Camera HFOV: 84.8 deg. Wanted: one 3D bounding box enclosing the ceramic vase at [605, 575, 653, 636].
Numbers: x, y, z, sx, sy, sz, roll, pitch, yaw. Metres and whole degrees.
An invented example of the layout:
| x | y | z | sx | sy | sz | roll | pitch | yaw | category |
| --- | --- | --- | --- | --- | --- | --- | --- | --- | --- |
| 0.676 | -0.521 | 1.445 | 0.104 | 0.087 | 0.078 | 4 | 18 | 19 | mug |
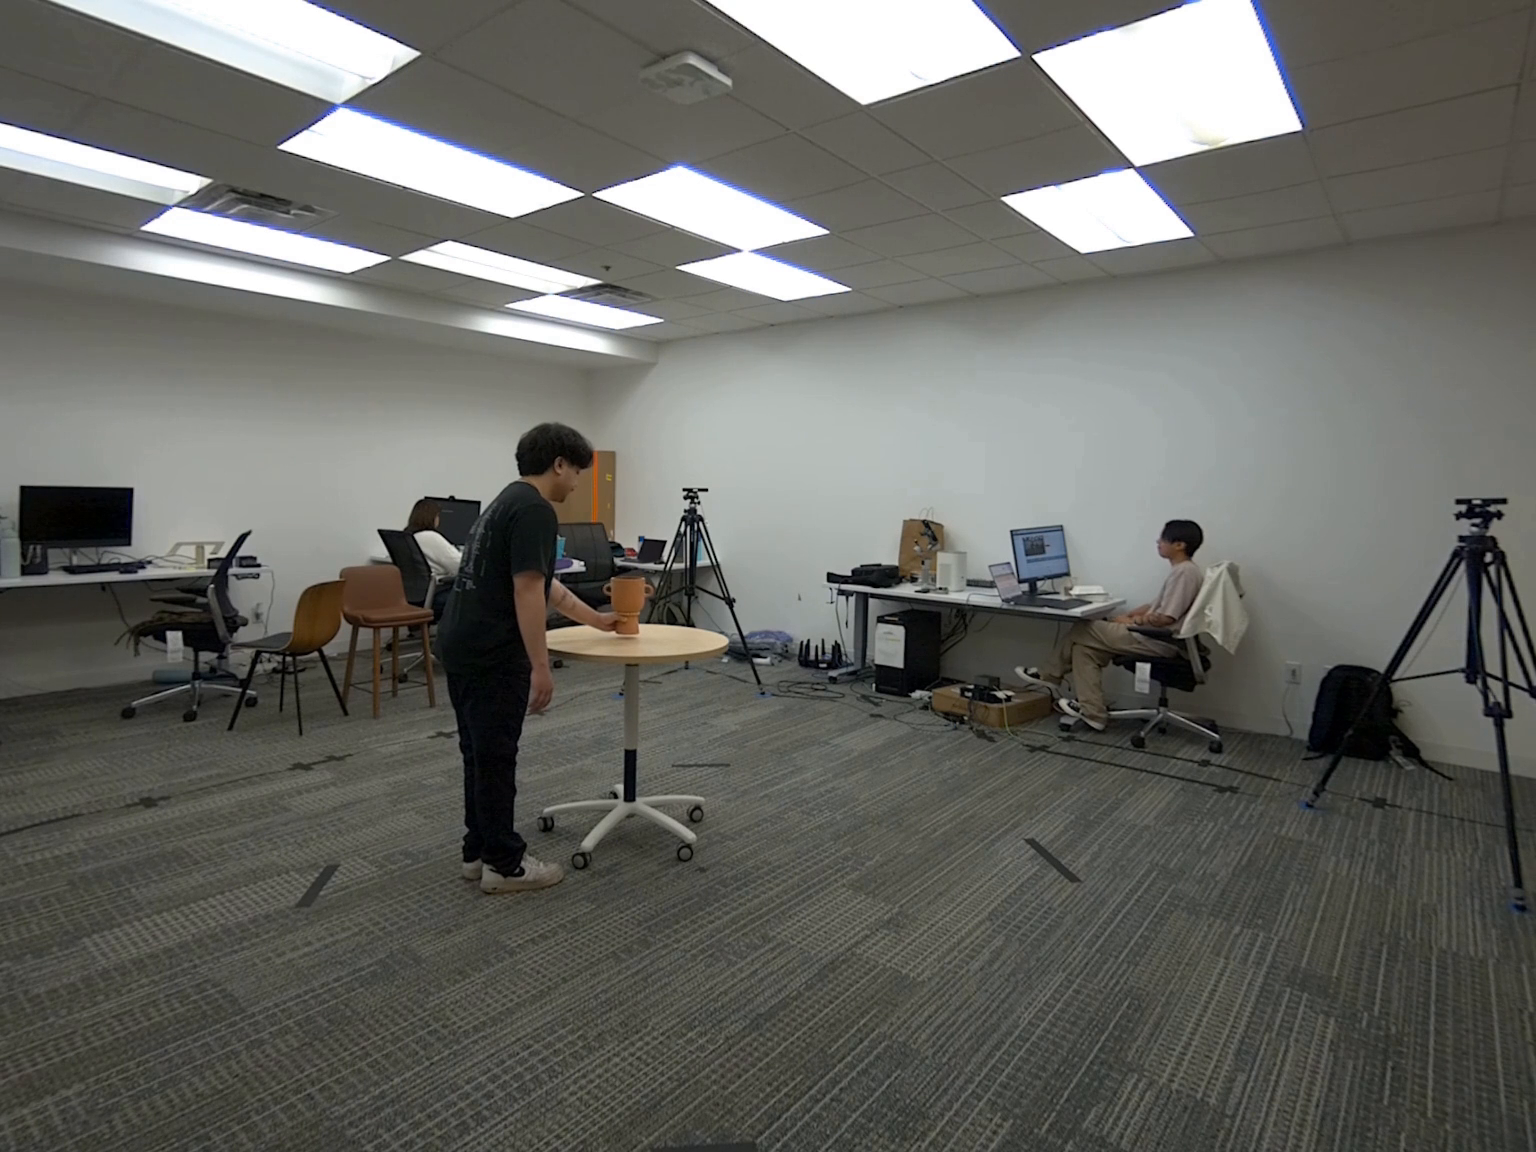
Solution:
| x | y | z | sx | sy | sz | roll | pitch | yaw | category |
| --- | --- | --- | --- | --- | --- | --- | --- | --- | --- |
| -0.572 | 0.116 | 3.378 | 0.164 | 0.219 | 0.130 | 4 | 4 | 41 | ceramic vase |
